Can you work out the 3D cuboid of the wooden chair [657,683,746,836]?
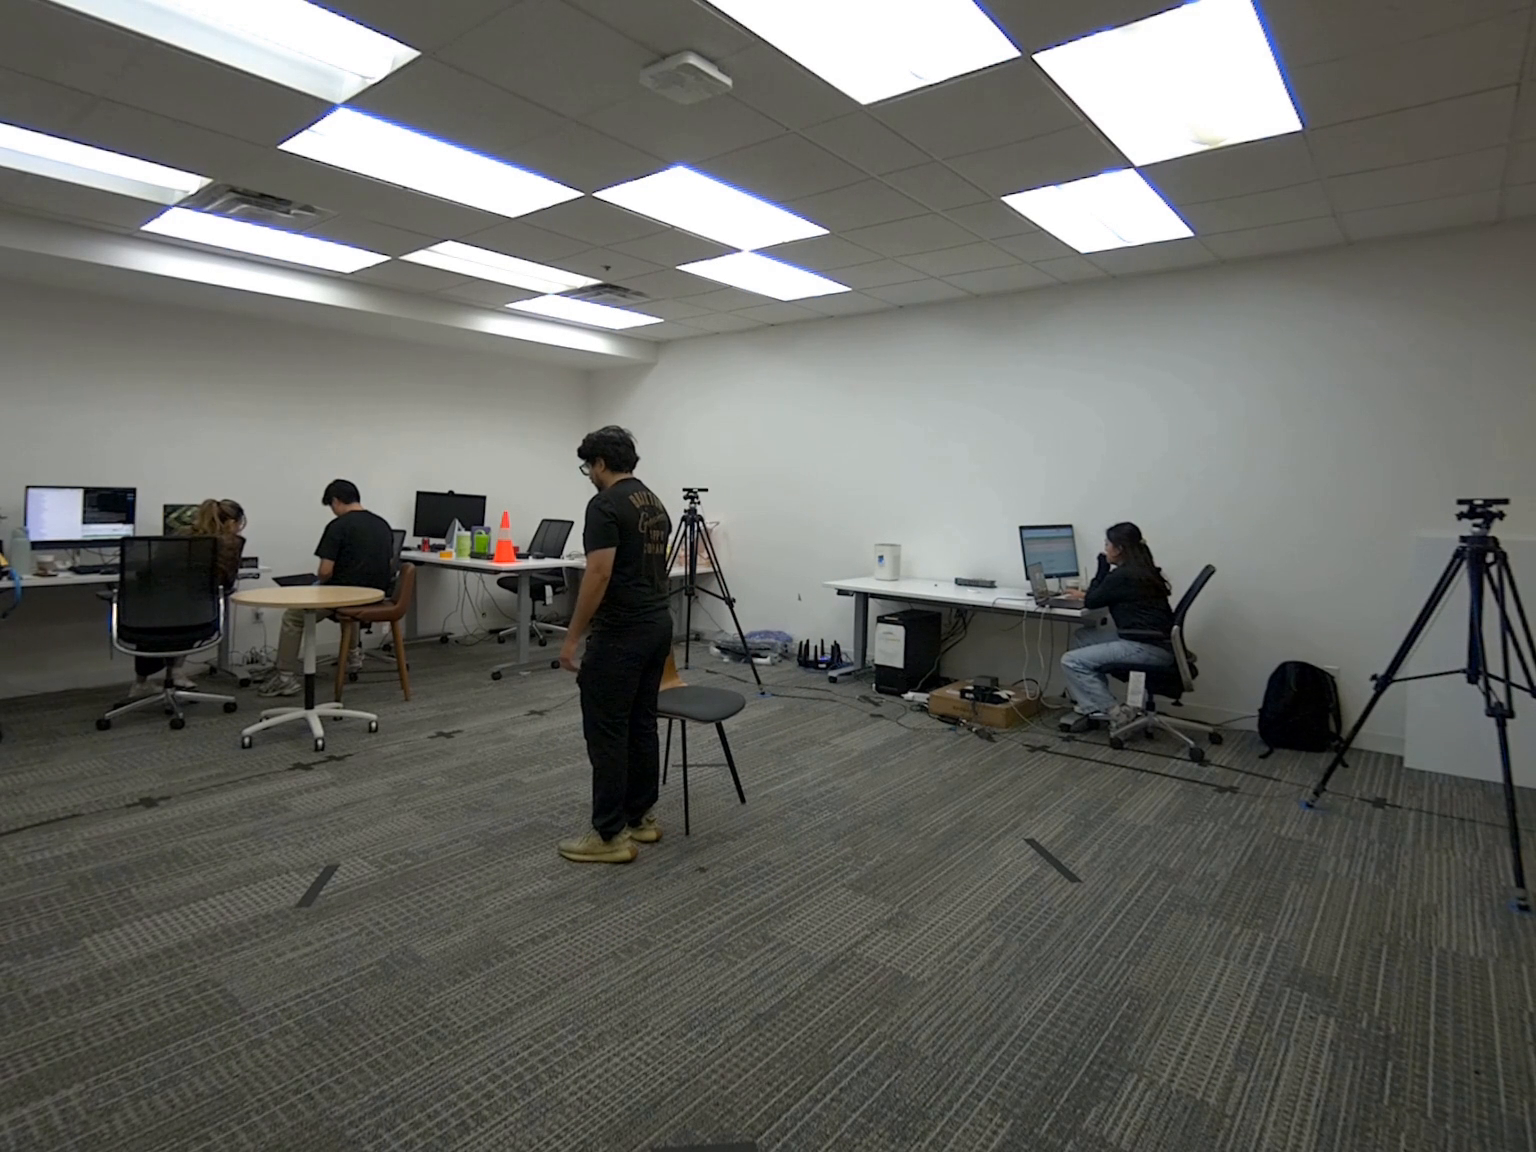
[{"bbox_3d":[-0.397,0.583,3.694,0.538,0.877,0.465,-2,0,31],"label":"wooden chair"}]
